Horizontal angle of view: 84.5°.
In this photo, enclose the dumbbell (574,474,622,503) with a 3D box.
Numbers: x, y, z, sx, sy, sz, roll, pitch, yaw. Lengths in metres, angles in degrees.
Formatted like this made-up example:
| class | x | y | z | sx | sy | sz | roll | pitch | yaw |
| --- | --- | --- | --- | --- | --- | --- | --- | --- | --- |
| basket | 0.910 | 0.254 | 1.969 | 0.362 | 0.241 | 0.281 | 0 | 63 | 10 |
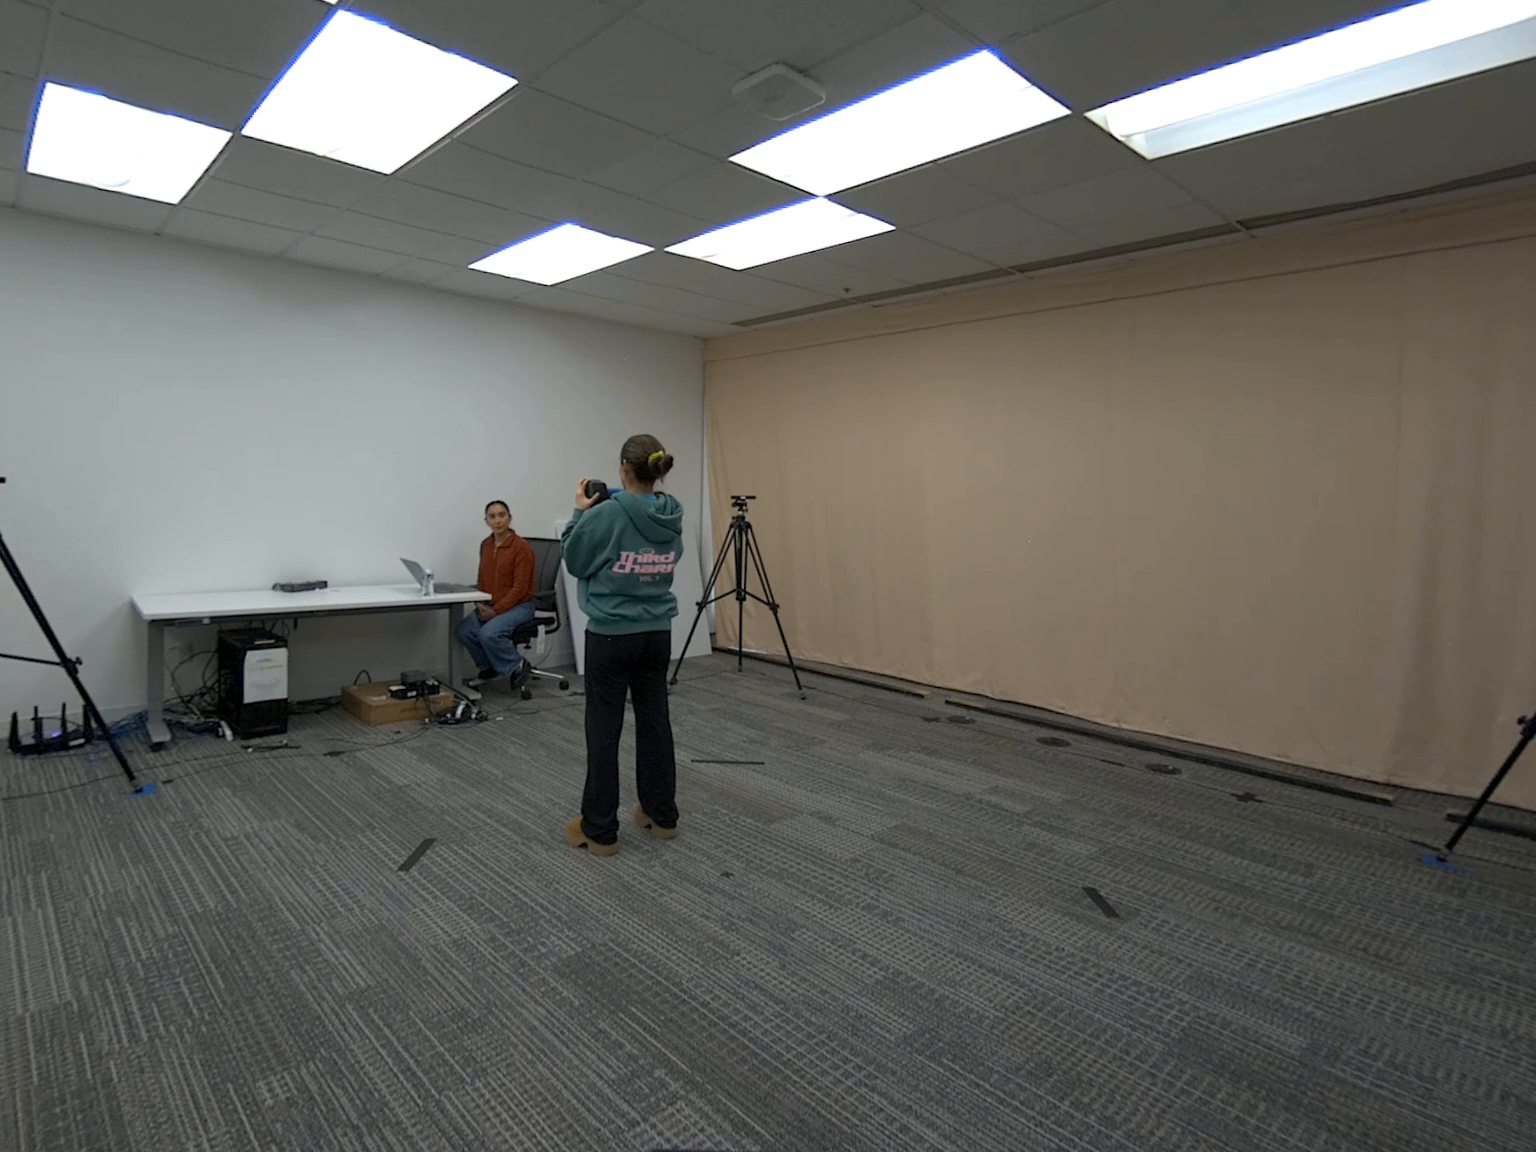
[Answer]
| class | x | y | z | sx | sy | sz | roll | pitch | yaw |
| --- | --- | --- | --- | --- | --- | --- | --- | --- | --- |
| dumbbell | -0.623 | -0.330 | 3.431 | 0.287 | 0.124 | 0.110 | -2 | -14 | -40 |
